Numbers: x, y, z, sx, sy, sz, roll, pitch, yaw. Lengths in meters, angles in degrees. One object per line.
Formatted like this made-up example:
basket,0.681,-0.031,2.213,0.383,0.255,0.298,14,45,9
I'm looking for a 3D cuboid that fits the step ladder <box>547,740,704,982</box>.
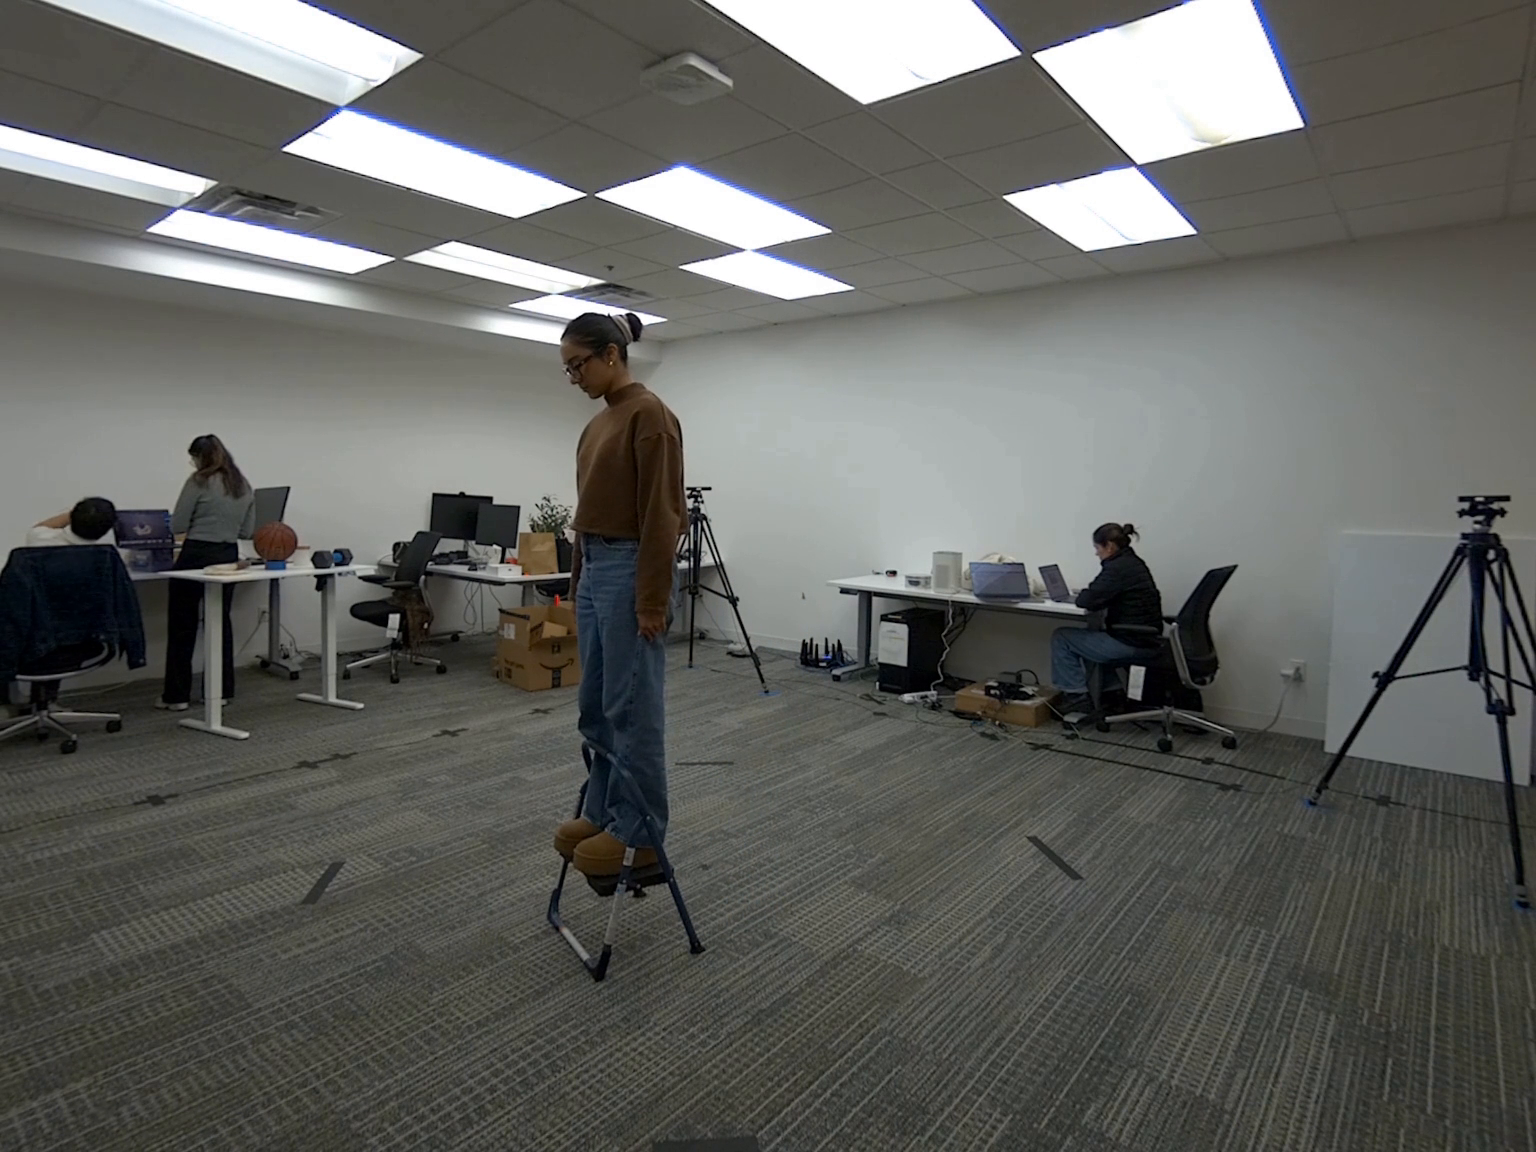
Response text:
step ladder,-0.461,0.808,2.620,0.339,0.603,0.445,-2,6,-34
